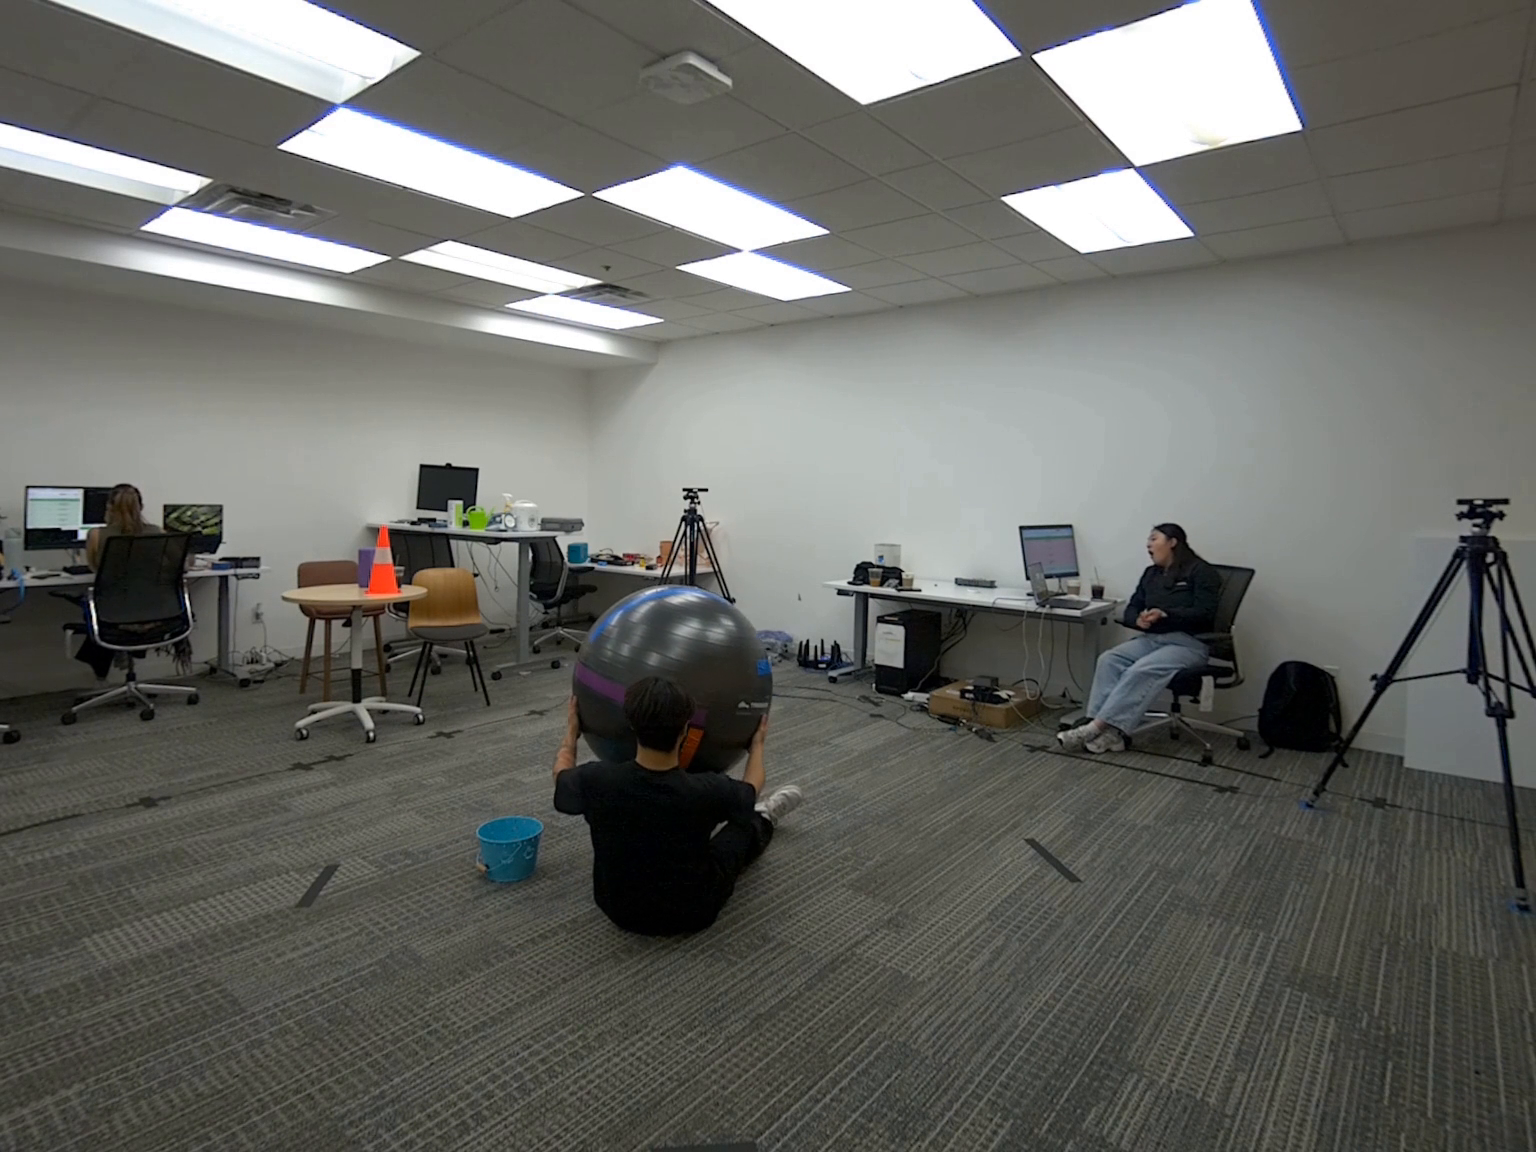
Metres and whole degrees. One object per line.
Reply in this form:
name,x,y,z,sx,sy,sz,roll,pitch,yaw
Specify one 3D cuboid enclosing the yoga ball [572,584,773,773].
yoga ball,-0.363,0.423,3.218,0.757,0.755,0.762,1,4,-2
